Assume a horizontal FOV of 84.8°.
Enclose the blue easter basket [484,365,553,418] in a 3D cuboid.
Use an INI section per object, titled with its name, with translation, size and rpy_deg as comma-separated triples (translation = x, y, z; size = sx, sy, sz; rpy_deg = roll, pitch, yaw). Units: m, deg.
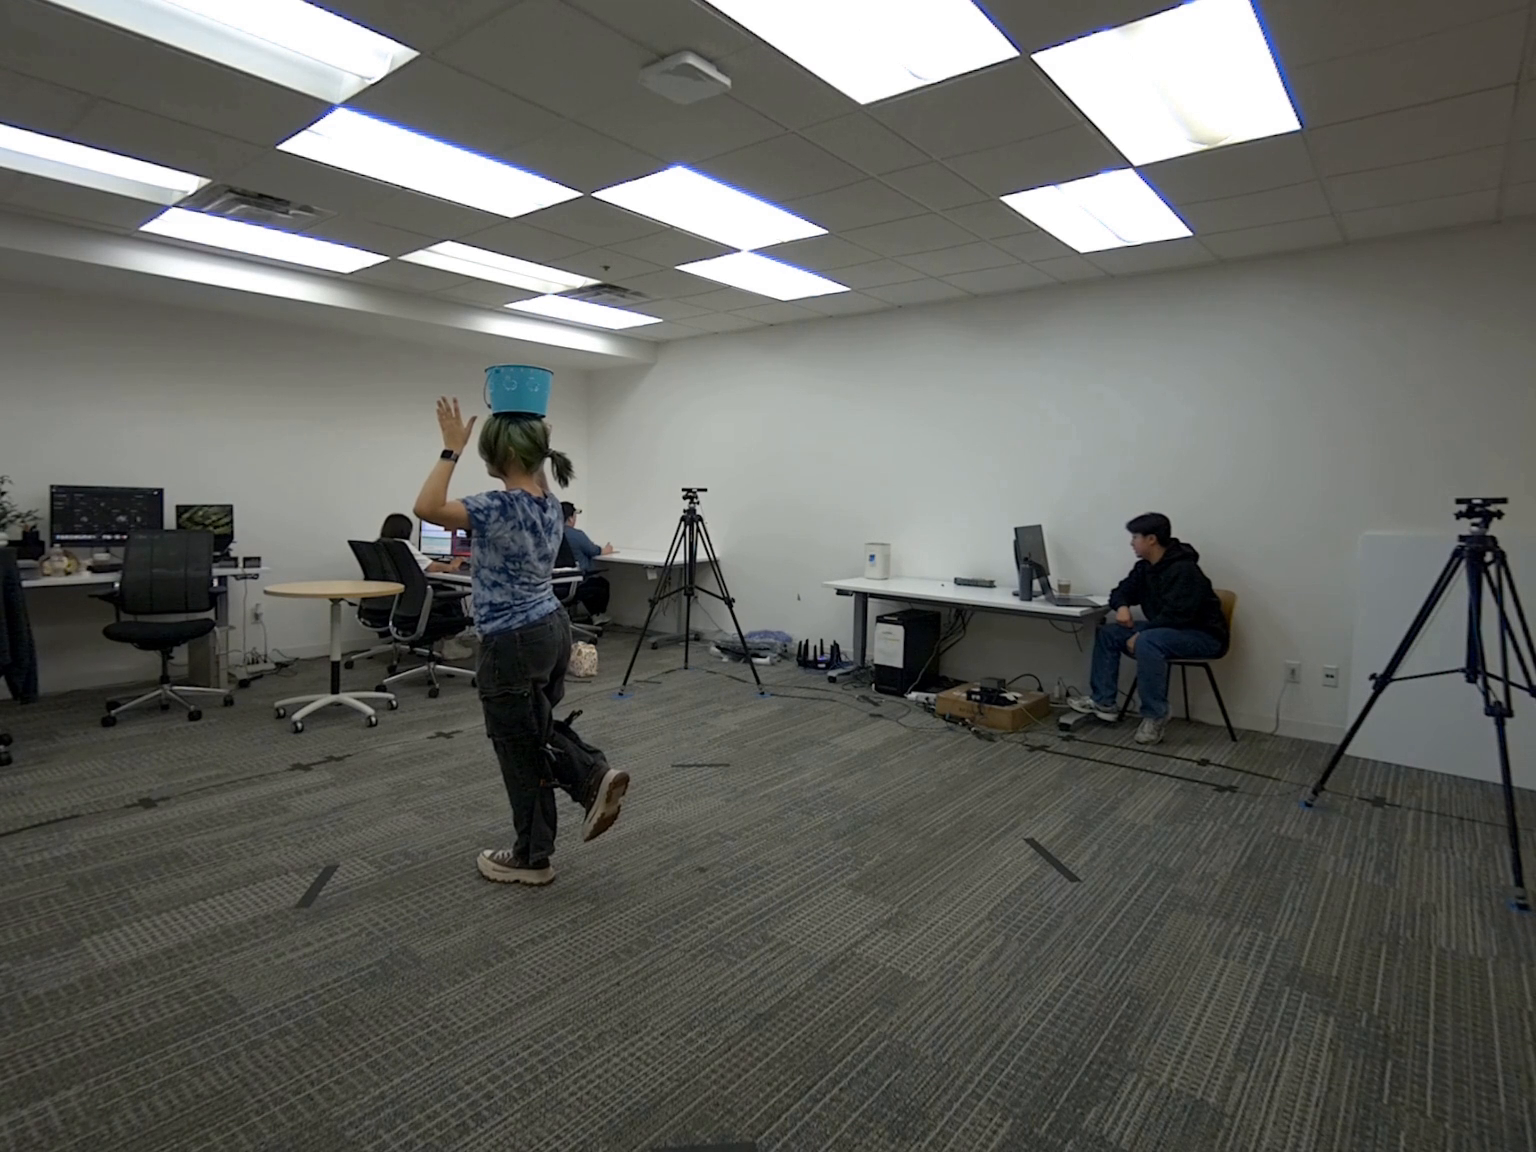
[blue easter basket]
translation = -0.865, -0.623, 2.915
size = 0.243, 0.156, 0.244
rpy_deg = -1, 2, -2
